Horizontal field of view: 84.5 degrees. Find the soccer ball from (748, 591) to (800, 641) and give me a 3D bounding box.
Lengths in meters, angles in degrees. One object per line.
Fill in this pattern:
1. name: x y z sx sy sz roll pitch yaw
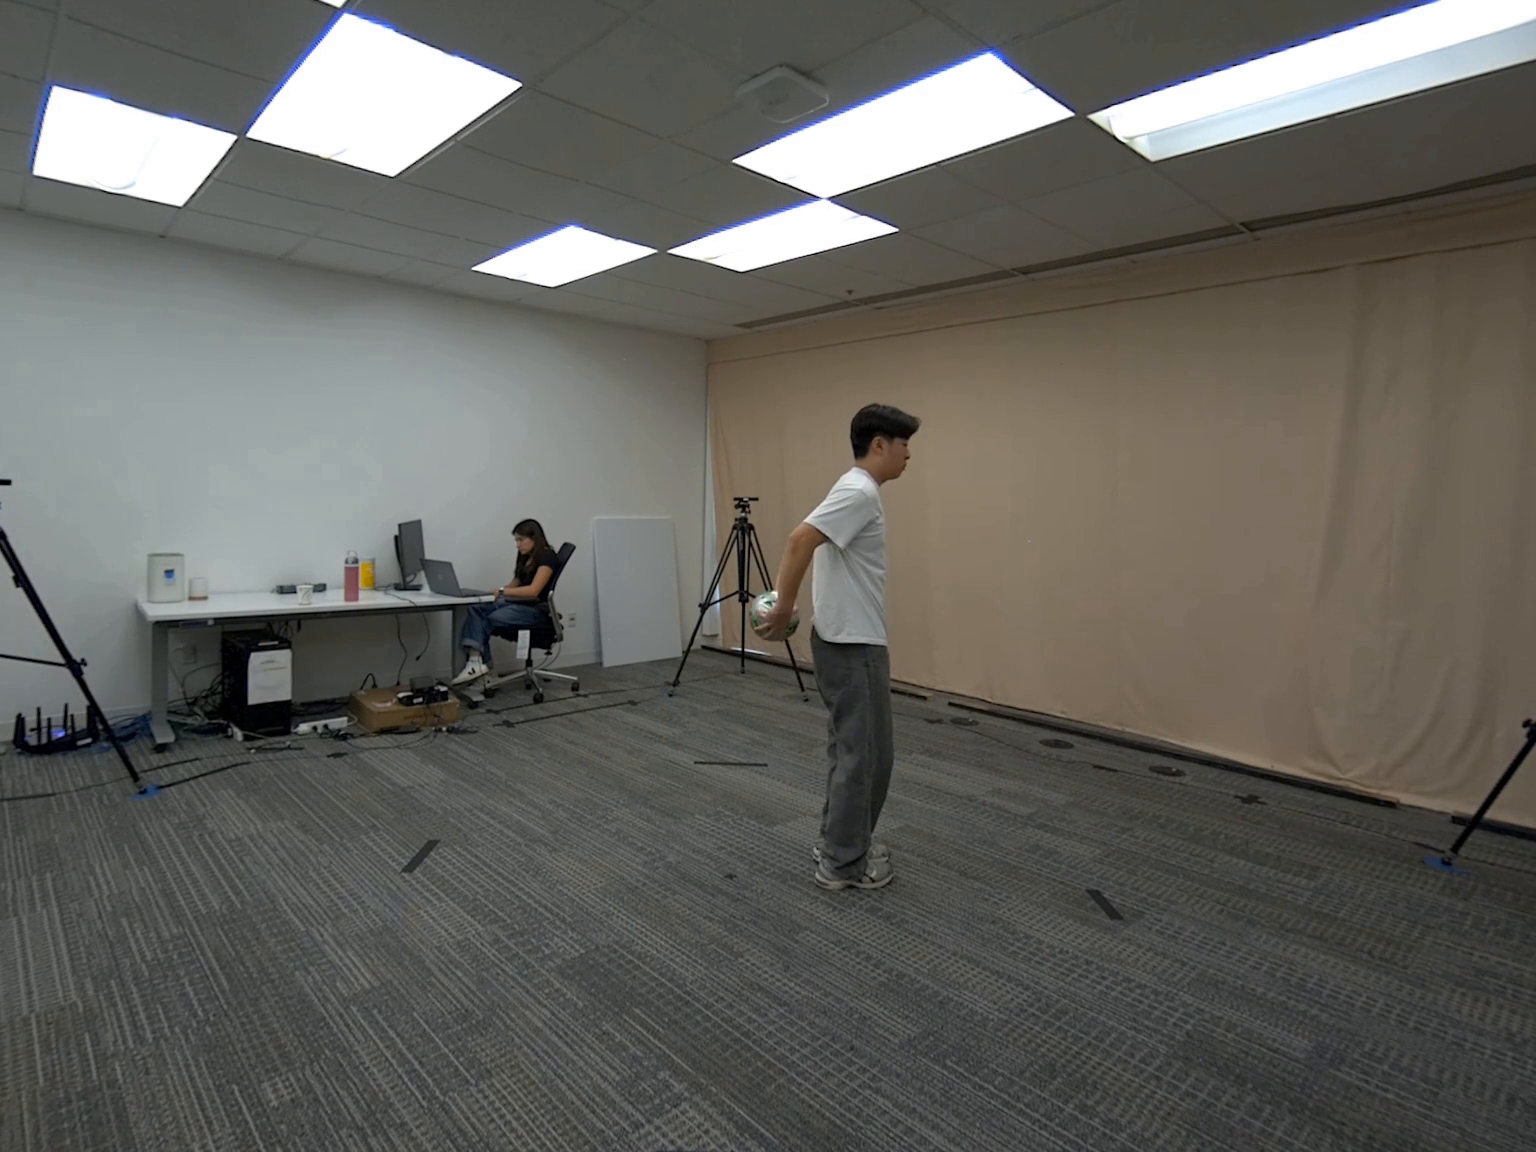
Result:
1. soccer ball: 0.057 0.164 3.013 0.187 0.187 0.188 1 4 -1
